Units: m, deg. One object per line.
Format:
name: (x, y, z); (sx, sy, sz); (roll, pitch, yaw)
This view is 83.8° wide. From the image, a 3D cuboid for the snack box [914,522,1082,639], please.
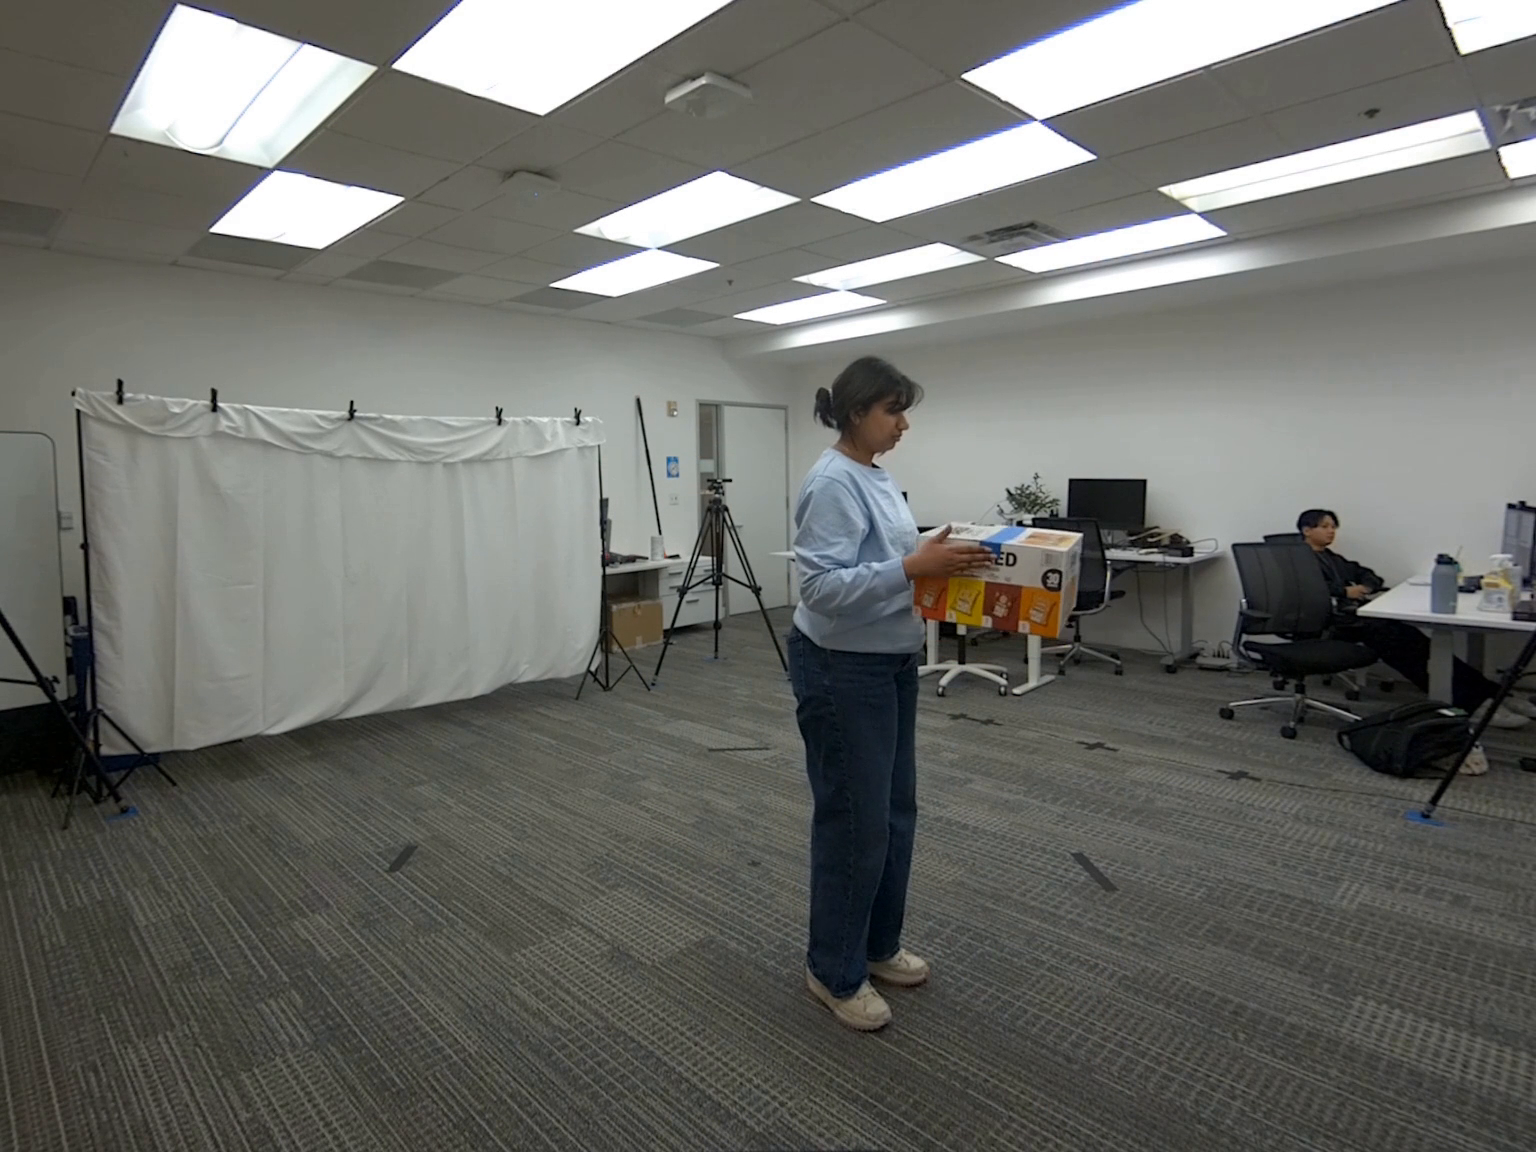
snack box: (0.598, -0.006, 2.173); (0.348, 0.204, 0.398); (6, 9, 23)
